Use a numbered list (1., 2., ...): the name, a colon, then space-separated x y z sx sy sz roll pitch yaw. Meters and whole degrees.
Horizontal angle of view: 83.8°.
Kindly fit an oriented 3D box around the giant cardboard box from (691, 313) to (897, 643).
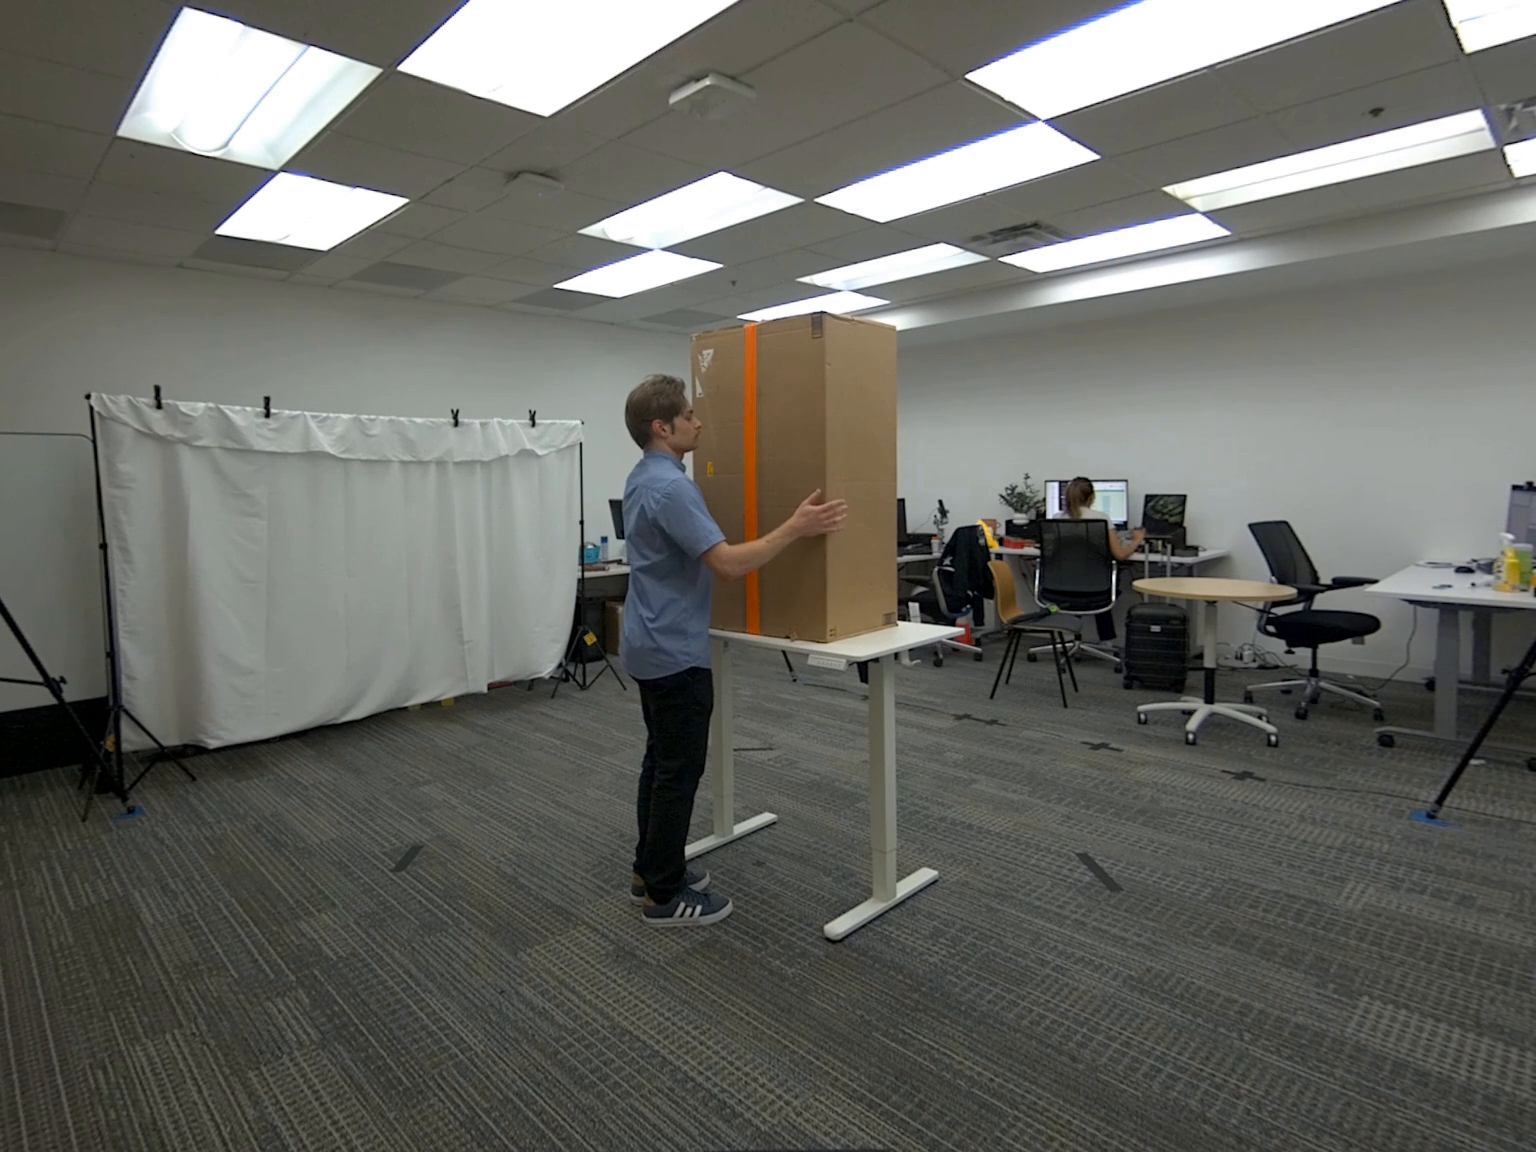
1. giant cardboard box: 0.090 -0.329 2.953 0.595 1.022 0.415 3 5 42
